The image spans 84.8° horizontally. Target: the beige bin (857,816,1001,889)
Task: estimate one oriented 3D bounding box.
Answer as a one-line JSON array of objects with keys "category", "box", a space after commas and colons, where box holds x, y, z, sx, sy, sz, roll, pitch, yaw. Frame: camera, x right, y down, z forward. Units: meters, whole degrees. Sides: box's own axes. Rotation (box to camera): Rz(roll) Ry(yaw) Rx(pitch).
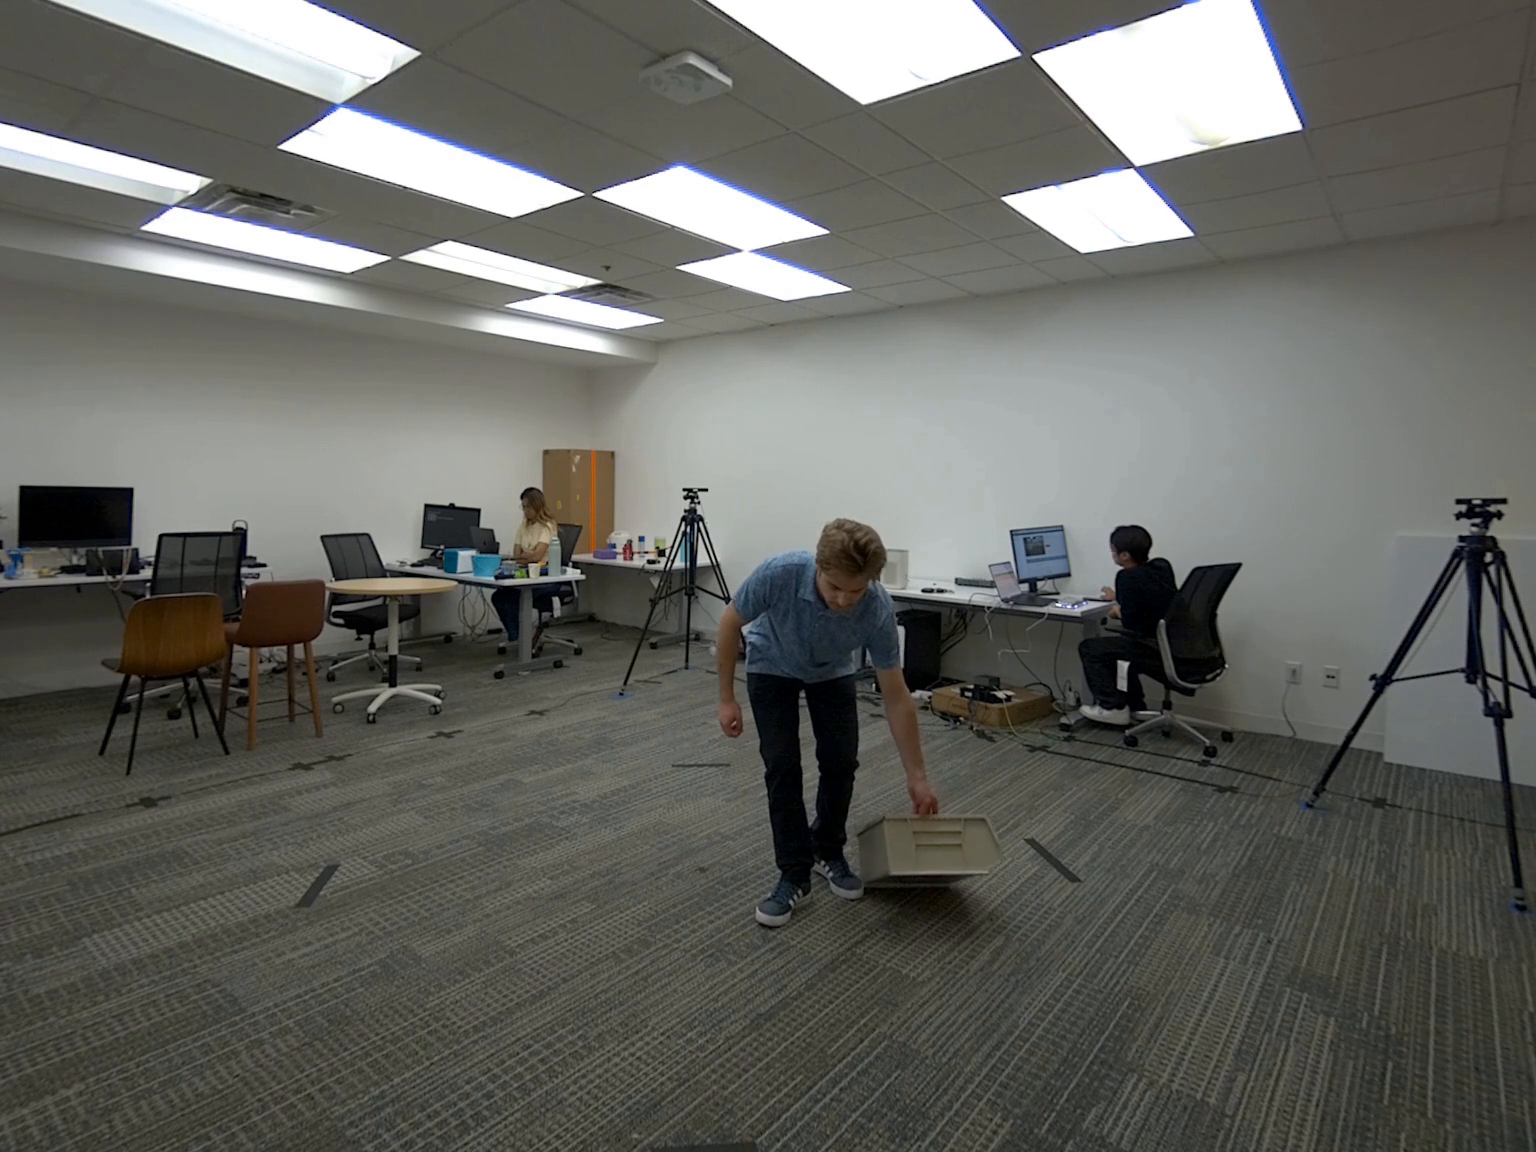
[{"category": "beige bin", "box": [0.524, 0.932, 2.865, 0.375, 0.193, 0.416, 1, -24, -8]}]
